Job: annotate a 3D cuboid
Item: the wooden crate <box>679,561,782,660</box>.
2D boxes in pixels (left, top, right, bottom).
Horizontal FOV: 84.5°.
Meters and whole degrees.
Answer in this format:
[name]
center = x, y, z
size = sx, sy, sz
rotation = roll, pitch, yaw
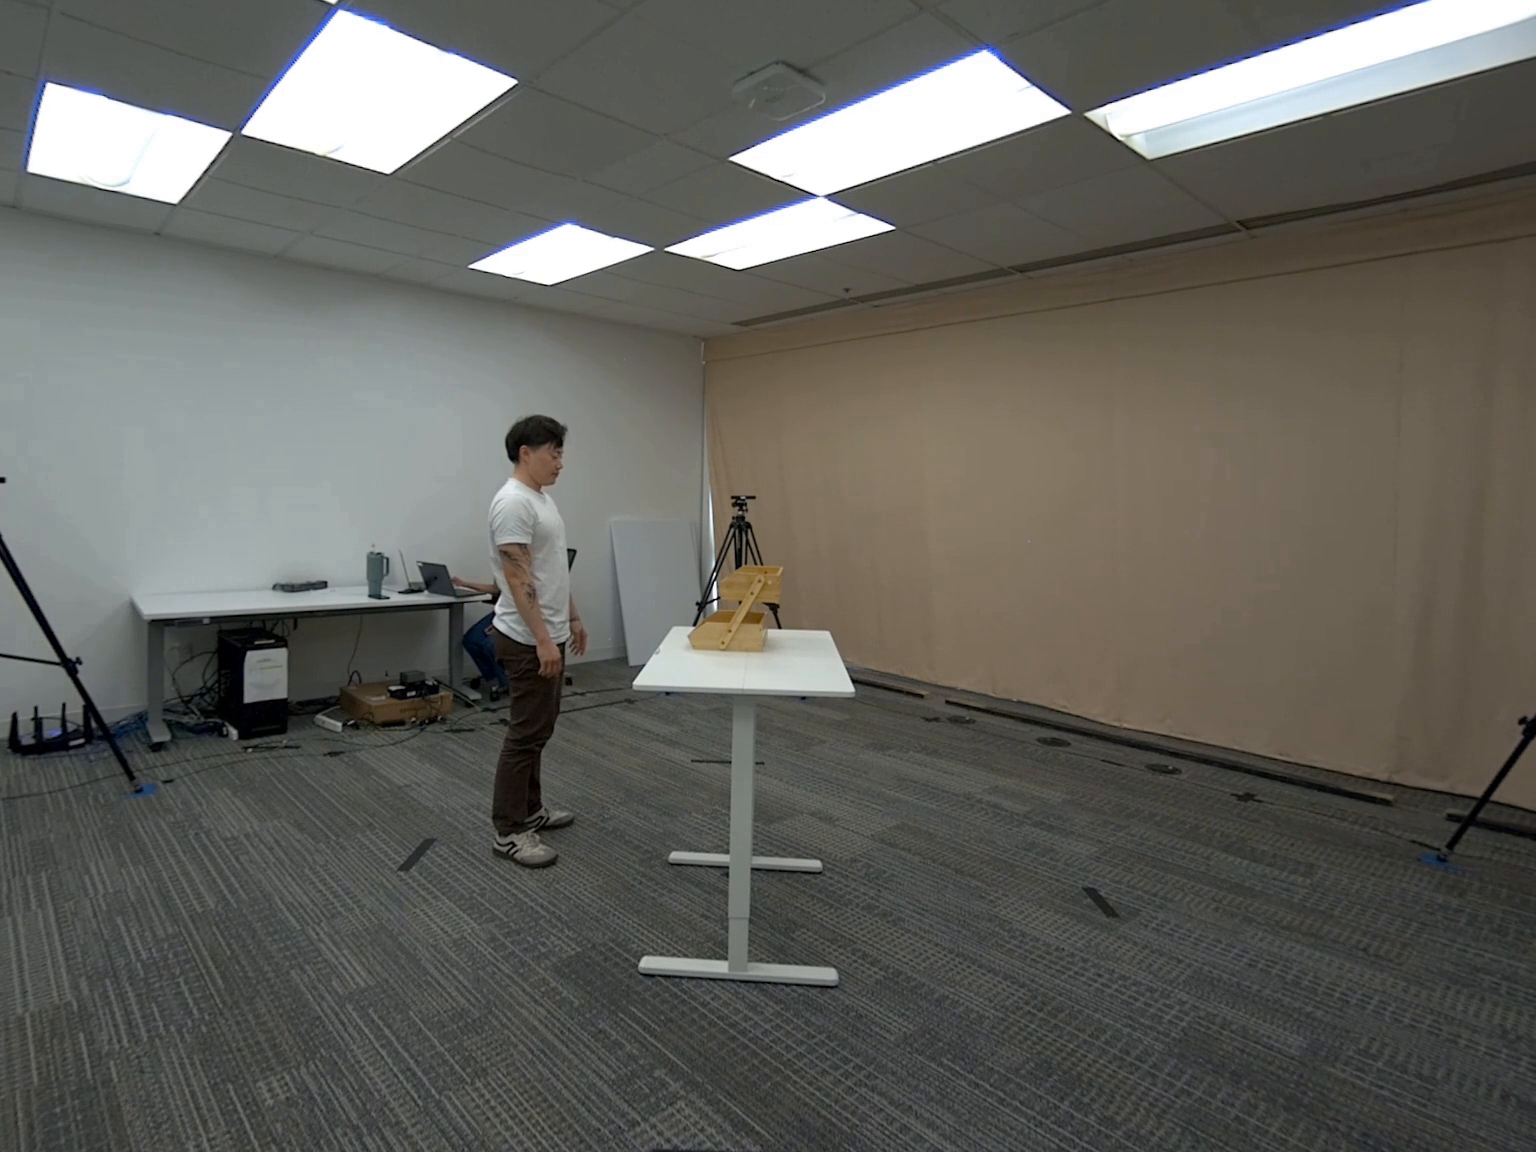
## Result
[wooden crate]
center = -0.123, 0.107, 2.923
size = 0.303, 0.272, 0.324
rotation = 3, 5, 5
